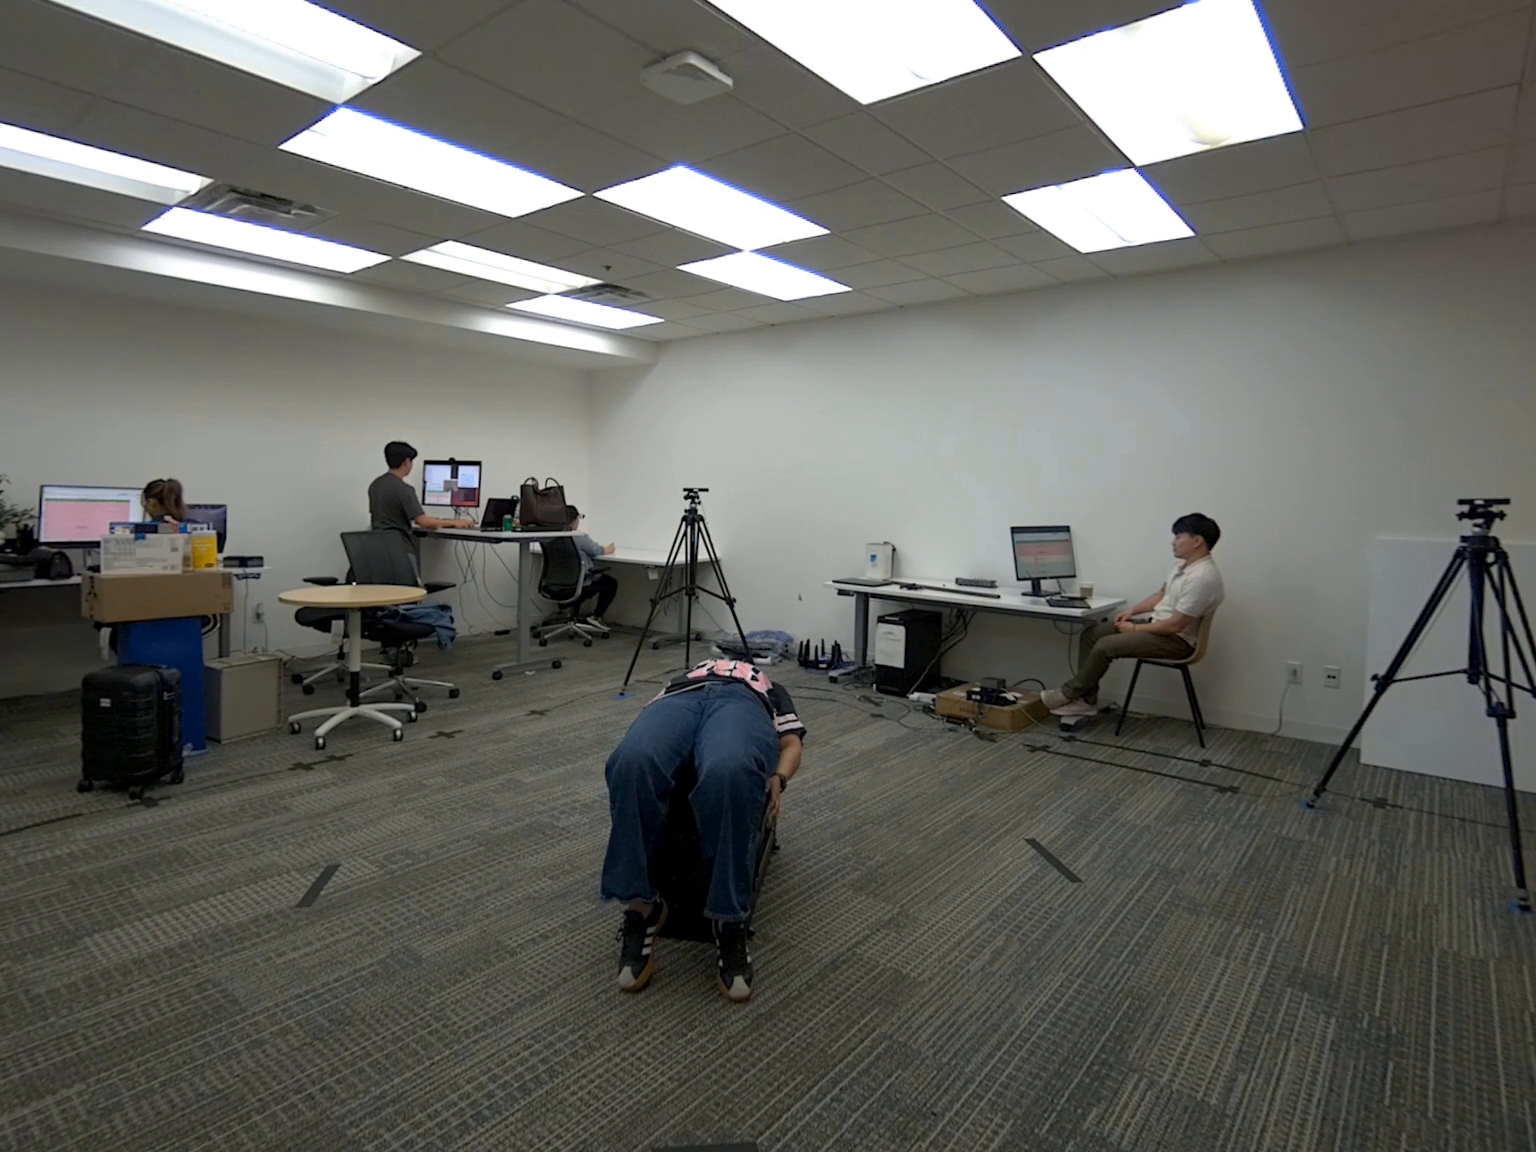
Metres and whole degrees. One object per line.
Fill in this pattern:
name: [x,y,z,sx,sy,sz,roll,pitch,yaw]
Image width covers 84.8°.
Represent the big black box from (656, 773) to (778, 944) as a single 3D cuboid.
big black box: [-0.185,0.823,3.010,0.389,0.522,0.862,1,4,9]
